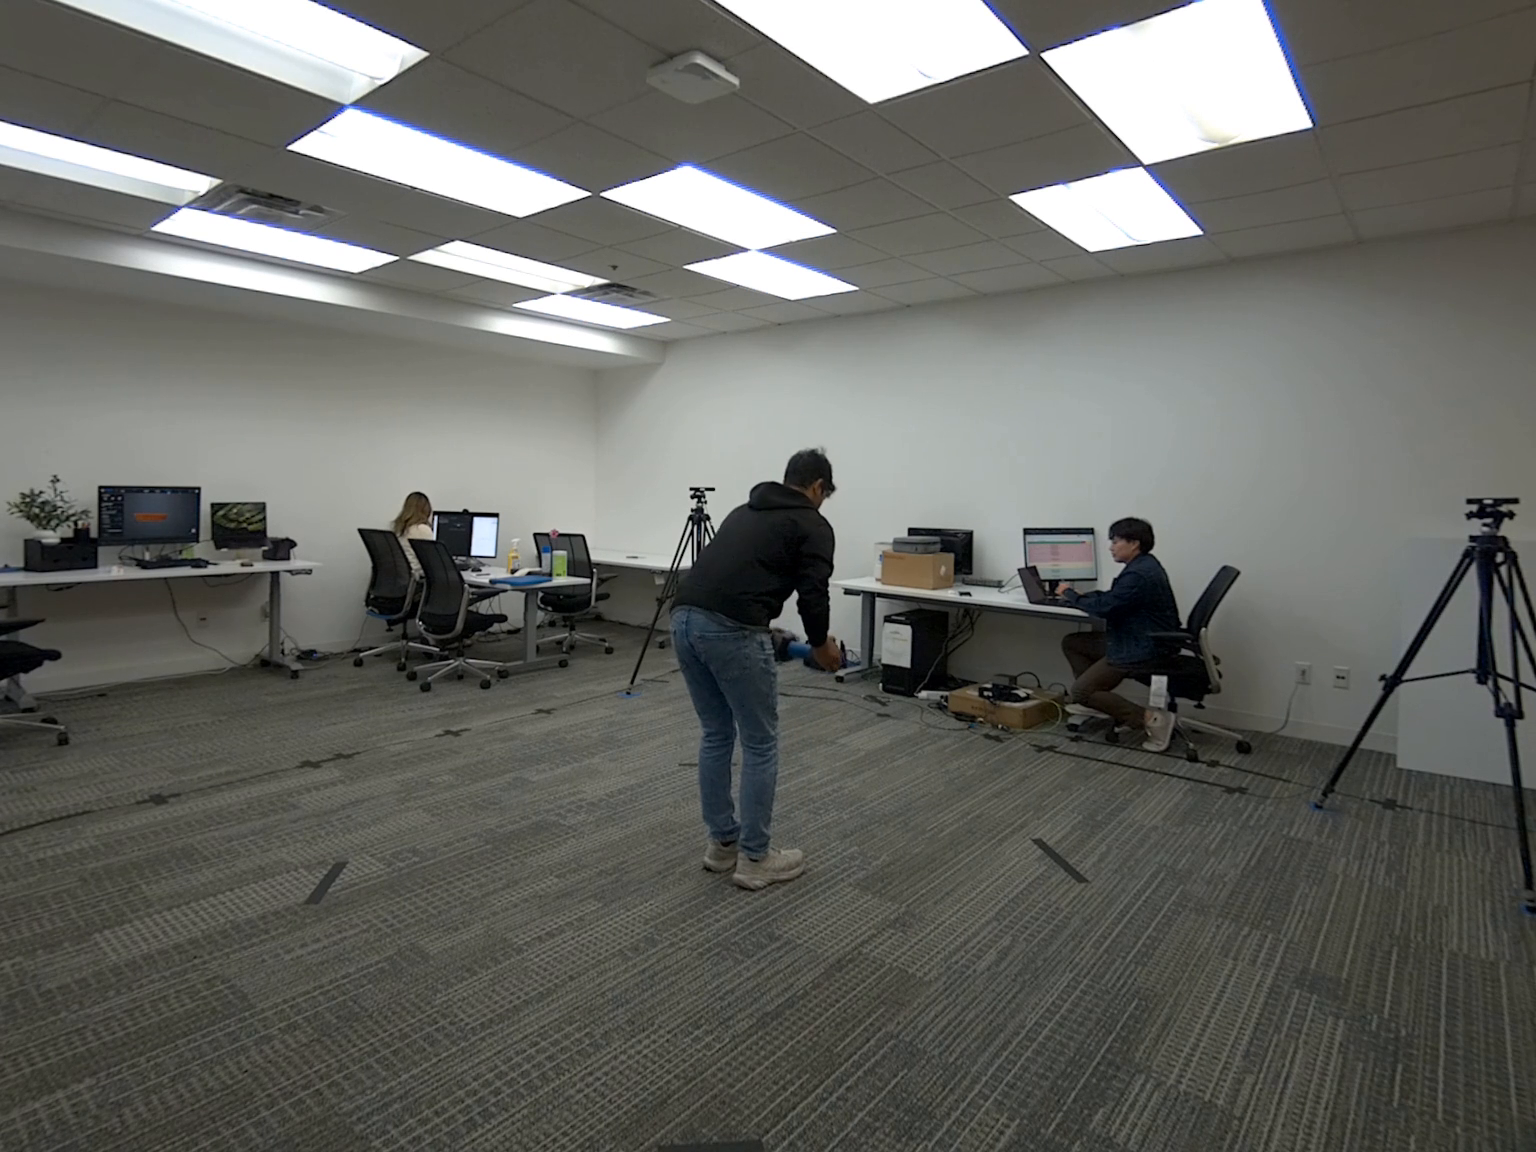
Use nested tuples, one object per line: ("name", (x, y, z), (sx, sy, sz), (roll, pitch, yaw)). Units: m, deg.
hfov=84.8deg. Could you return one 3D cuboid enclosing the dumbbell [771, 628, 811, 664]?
("dumbbell", (0.131, 0.297, 3.326), (0.119, 0.108, 0.304), (-2, 6, -43))
